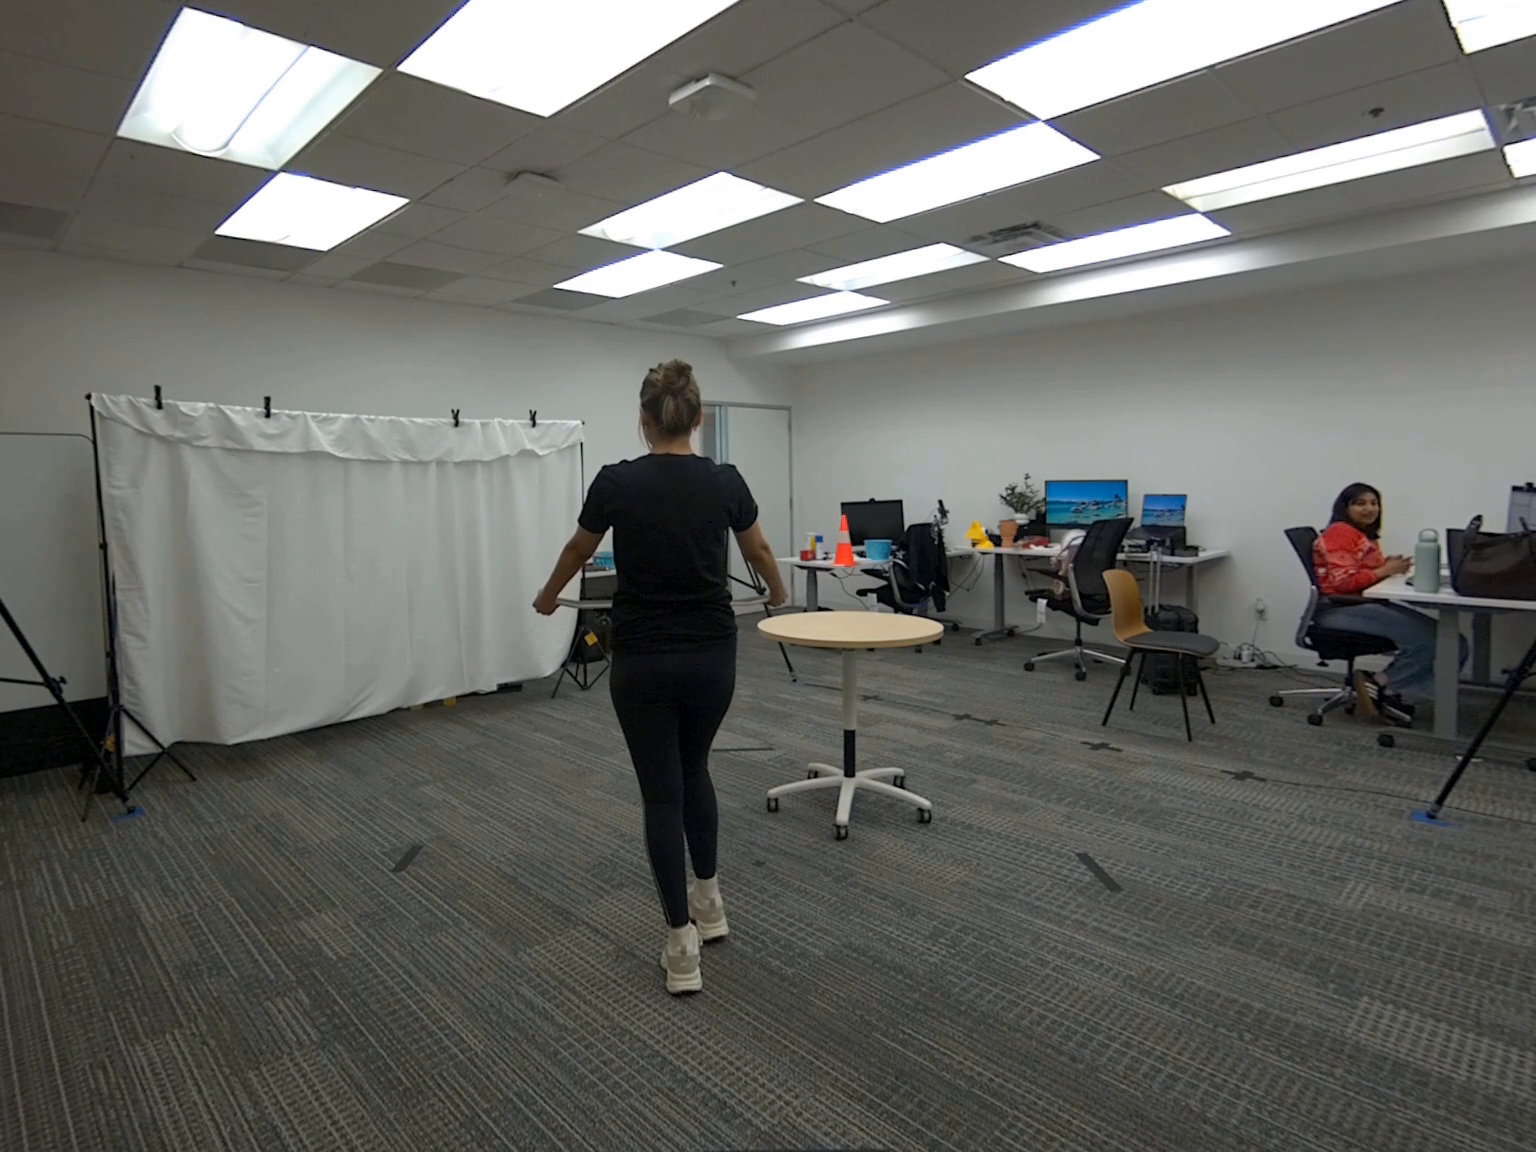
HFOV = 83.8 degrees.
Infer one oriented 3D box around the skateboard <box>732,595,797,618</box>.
[{"bbox_3d":[-0.339,0.119,2.867,0.778,0.110,0.195,0,1,-9],"label":"skateboard"}]
